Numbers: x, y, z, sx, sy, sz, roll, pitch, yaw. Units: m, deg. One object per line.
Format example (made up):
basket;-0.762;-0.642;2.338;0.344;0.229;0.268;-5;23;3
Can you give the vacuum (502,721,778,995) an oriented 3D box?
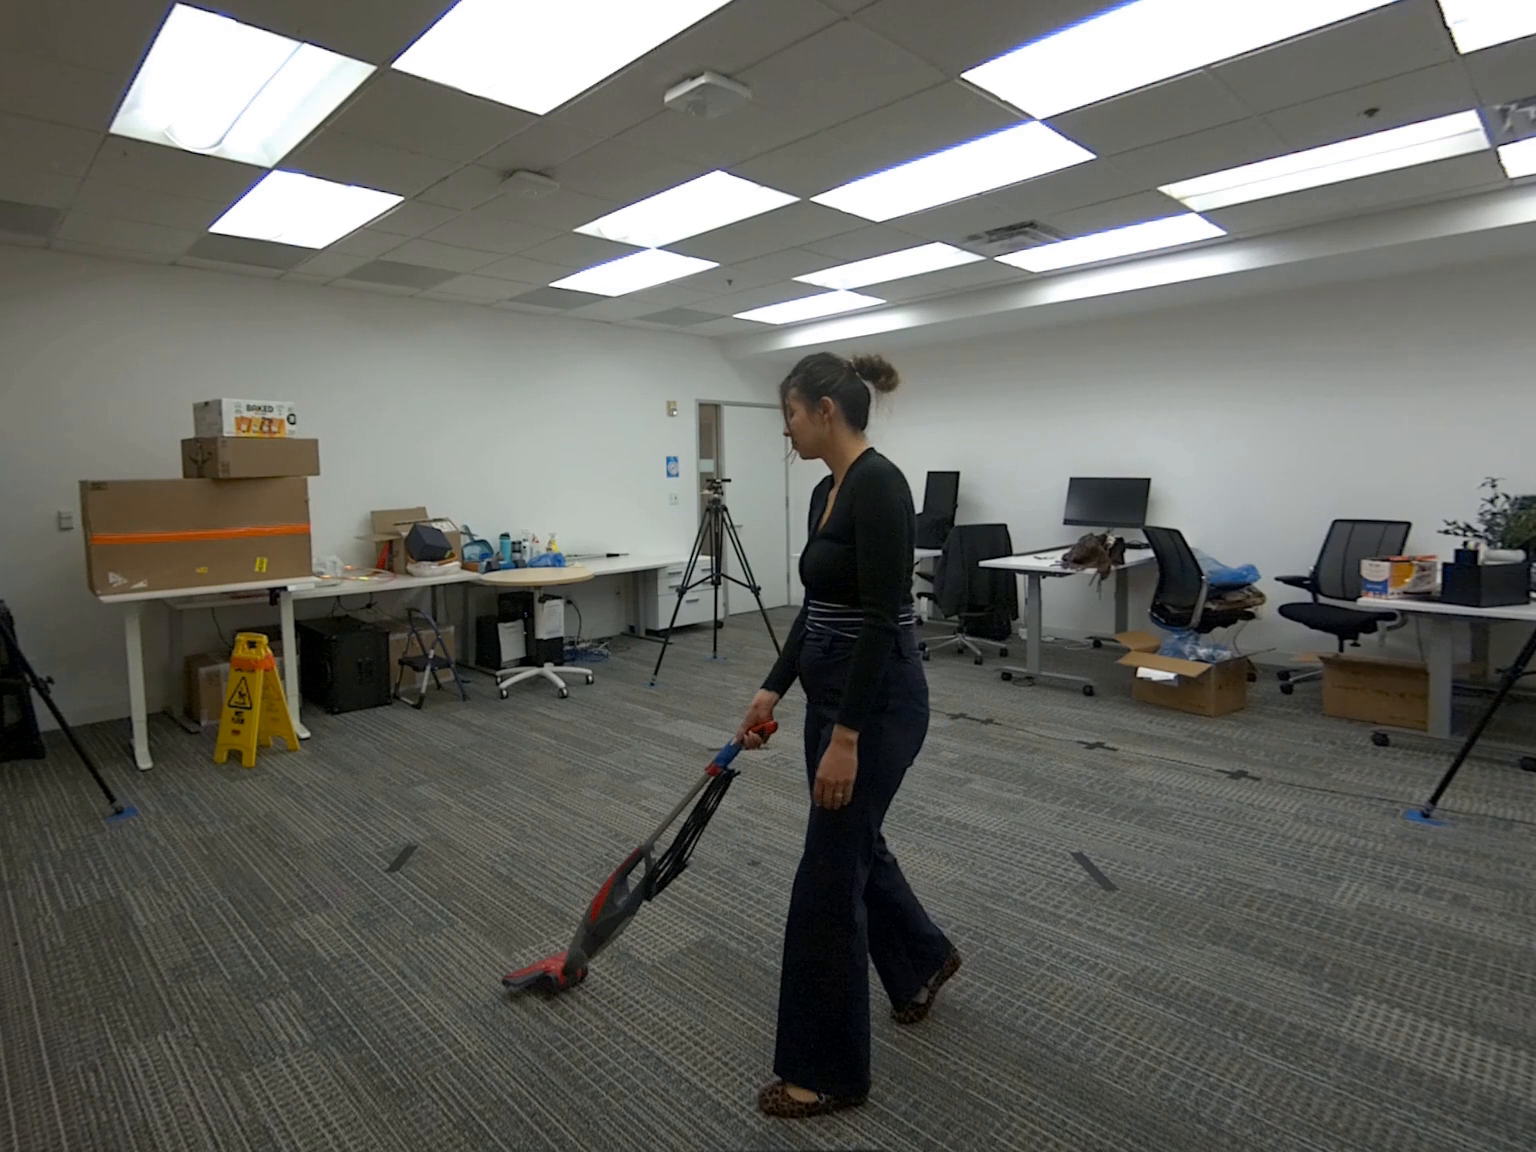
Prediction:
vacuum;-0.294;0.745;2.211;0.148;1.046;0.246;46;22;20
